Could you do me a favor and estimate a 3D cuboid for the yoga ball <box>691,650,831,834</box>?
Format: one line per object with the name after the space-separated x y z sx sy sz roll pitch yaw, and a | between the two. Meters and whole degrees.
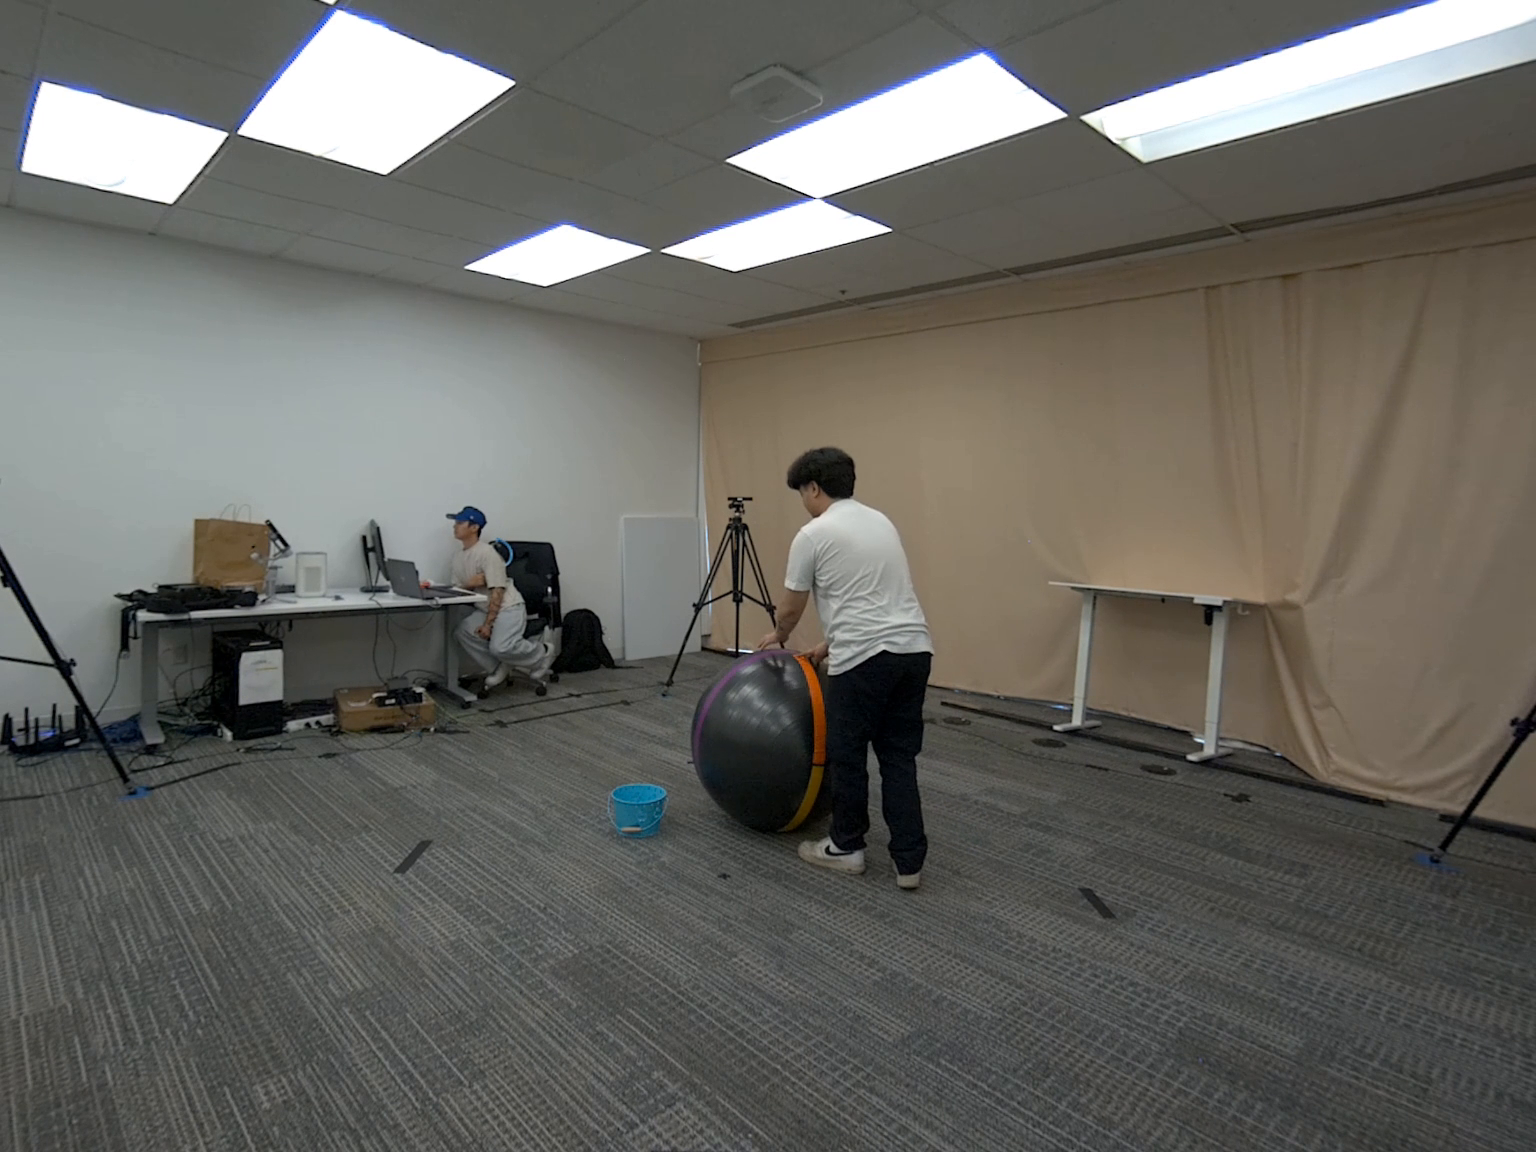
0.035 0.702 3.641 0.757 0.756 0.761 1 4 -1 | yoga ball
